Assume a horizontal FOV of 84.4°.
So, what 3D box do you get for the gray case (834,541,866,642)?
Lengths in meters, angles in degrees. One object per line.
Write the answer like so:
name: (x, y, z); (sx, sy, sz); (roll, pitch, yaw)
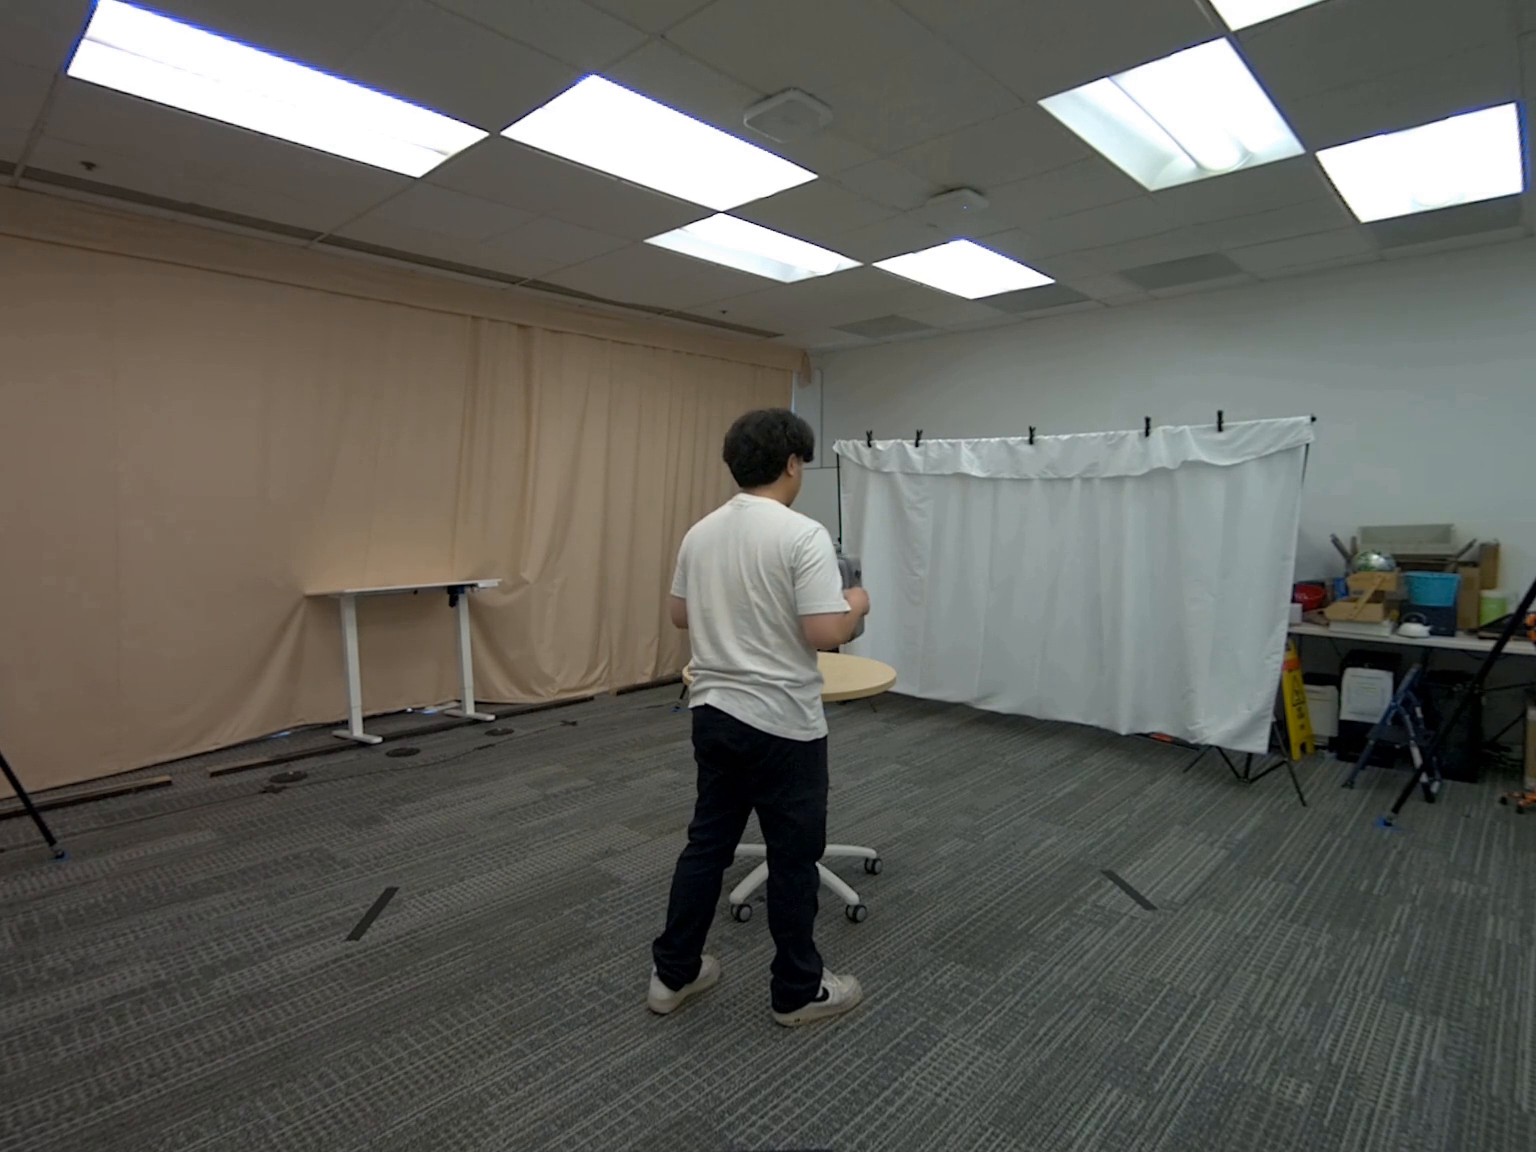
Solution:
gray case: (0.157, 0.055, 2.495); (0.266, 0.259, 0.101); (7, 13, 40)
